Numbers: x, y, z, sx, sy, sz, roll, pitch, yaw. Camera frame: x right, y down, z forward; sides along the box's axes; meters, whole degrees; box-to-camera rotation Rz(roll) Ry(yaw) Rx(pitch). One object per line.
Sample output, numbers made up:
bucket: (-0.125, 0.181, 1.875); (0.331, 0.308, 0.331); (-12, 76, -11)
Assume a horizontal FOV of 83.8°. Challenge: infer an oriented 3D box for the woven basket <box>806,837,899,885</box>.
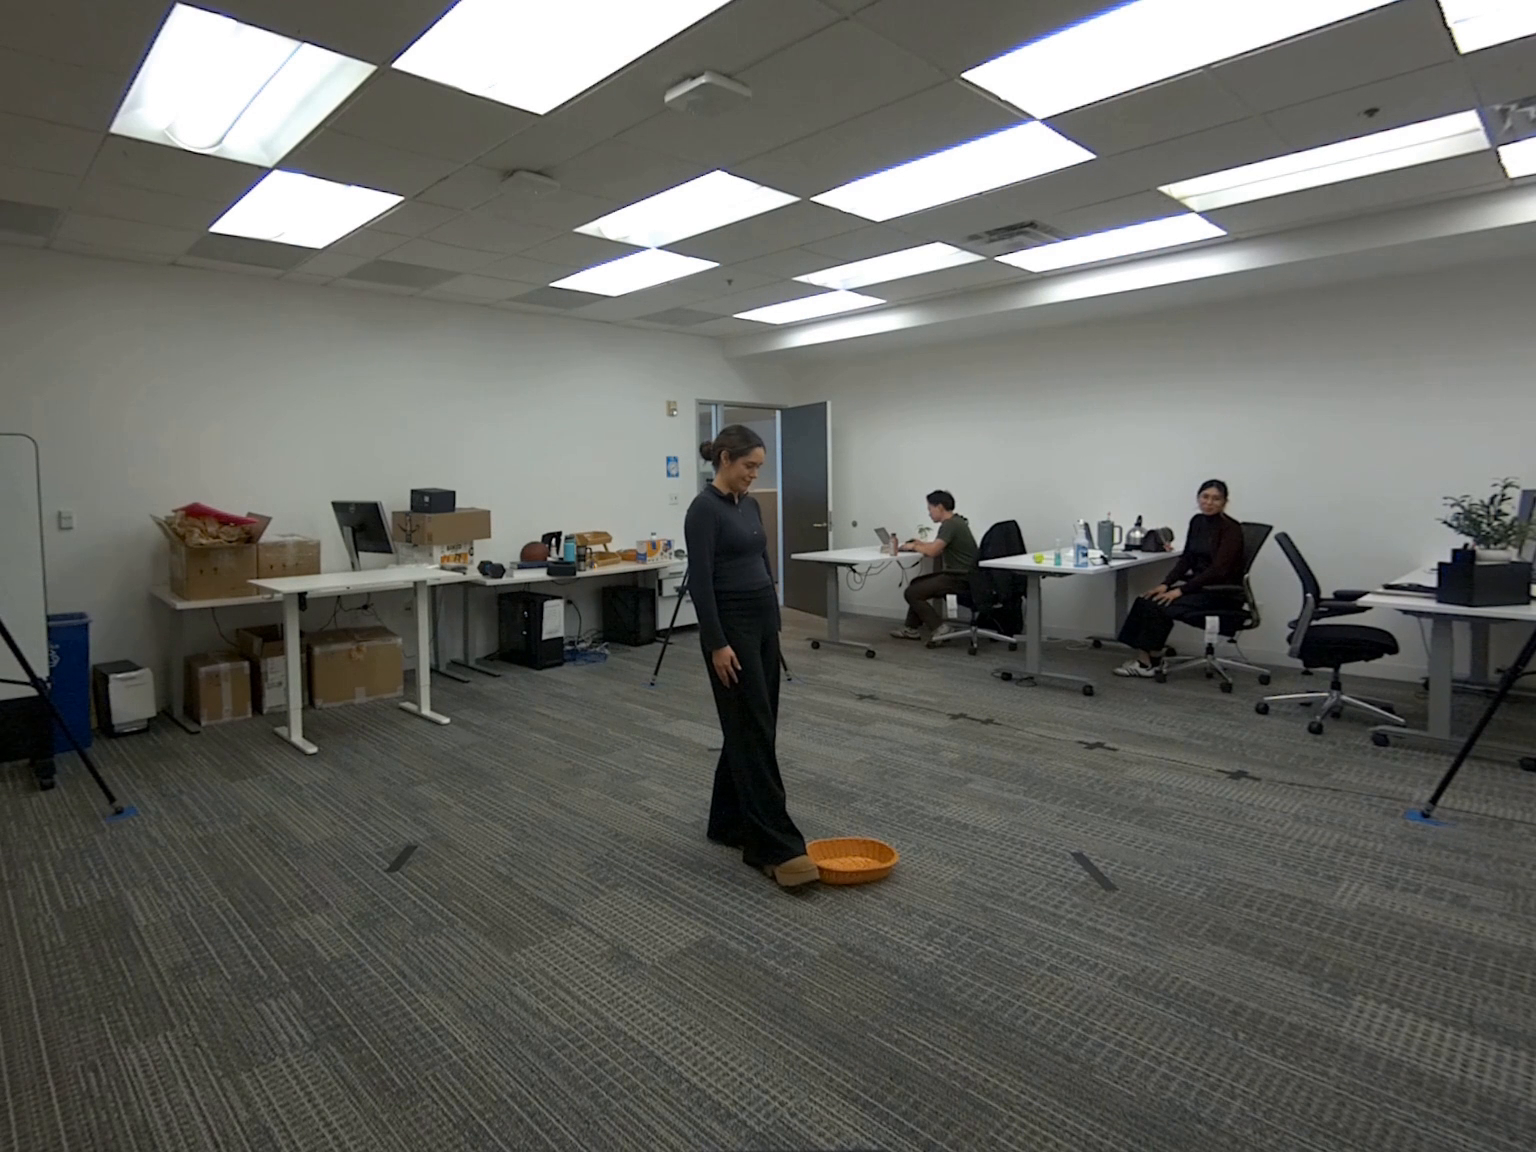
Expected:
woven basket: (0.289, 1.003, 3.002); (0.345, 0.073, 0.257); (1, 6, -15)
